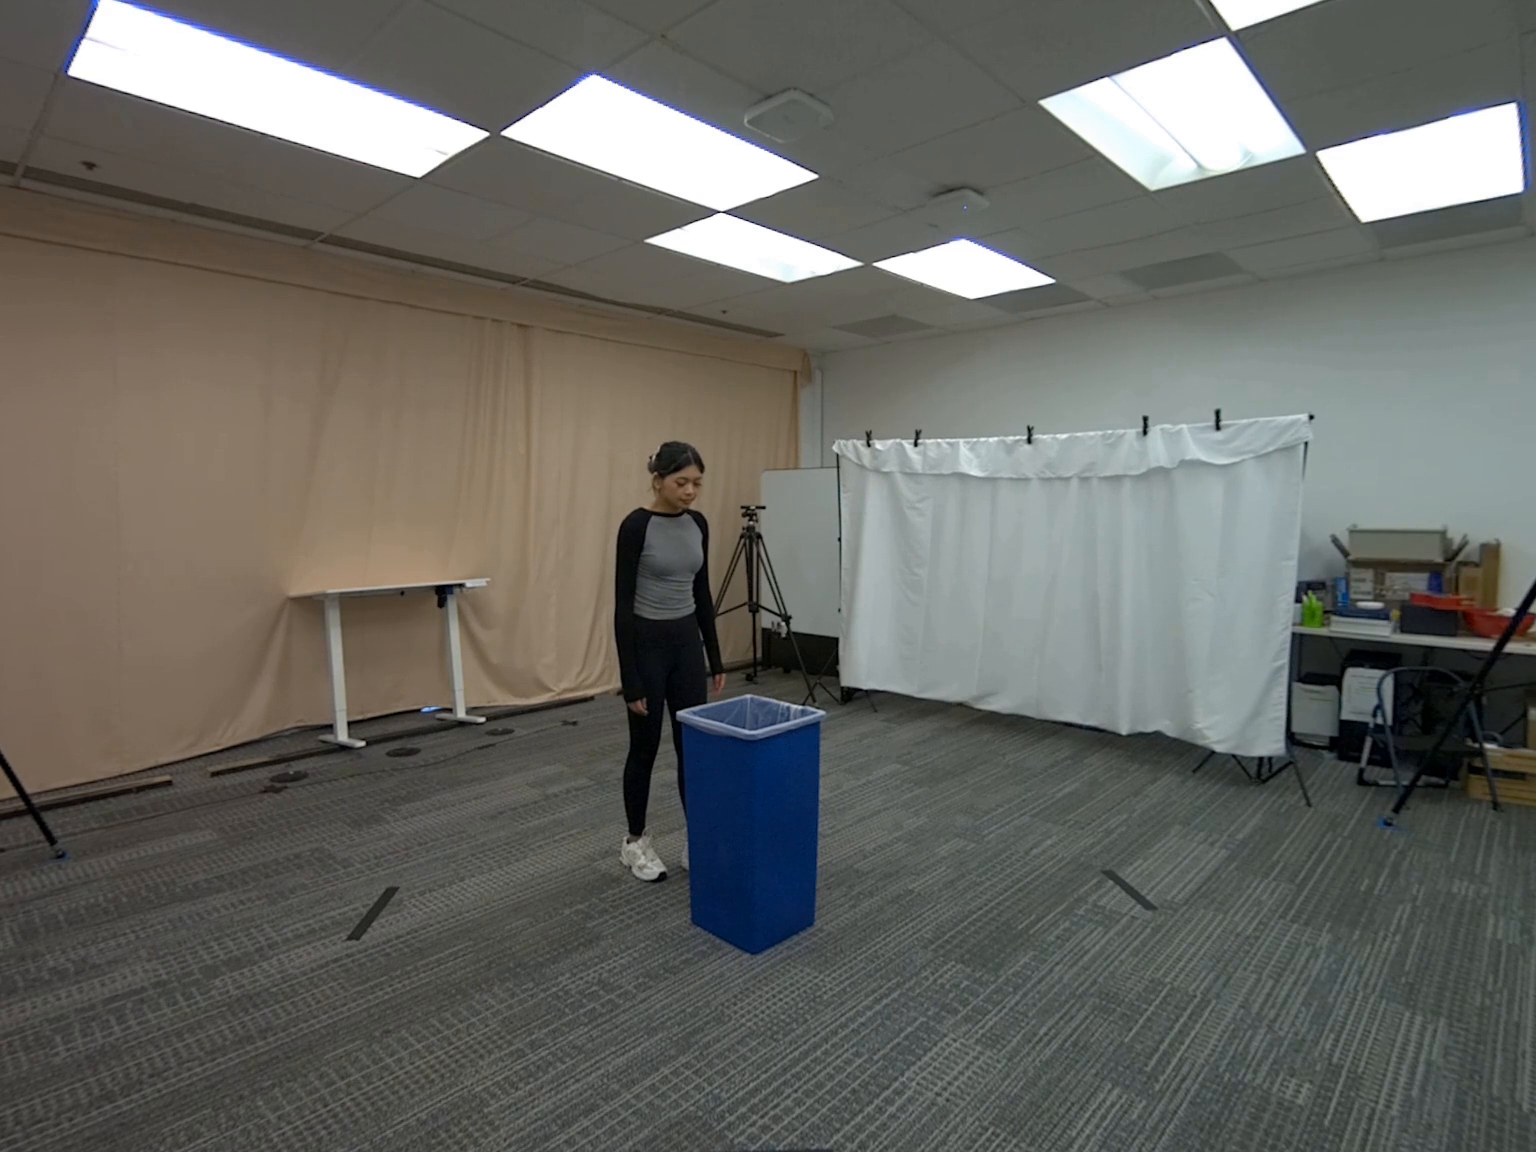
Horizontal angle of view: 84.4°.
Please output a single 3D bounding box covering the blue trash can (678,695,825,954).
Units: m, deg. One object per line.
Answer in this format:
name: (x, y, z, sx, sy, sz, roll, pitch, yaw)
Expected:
blue trash can: (-0.050, 0.803, 2.784, 0.390, 0.712, 0.362, 3, 4, 44)
